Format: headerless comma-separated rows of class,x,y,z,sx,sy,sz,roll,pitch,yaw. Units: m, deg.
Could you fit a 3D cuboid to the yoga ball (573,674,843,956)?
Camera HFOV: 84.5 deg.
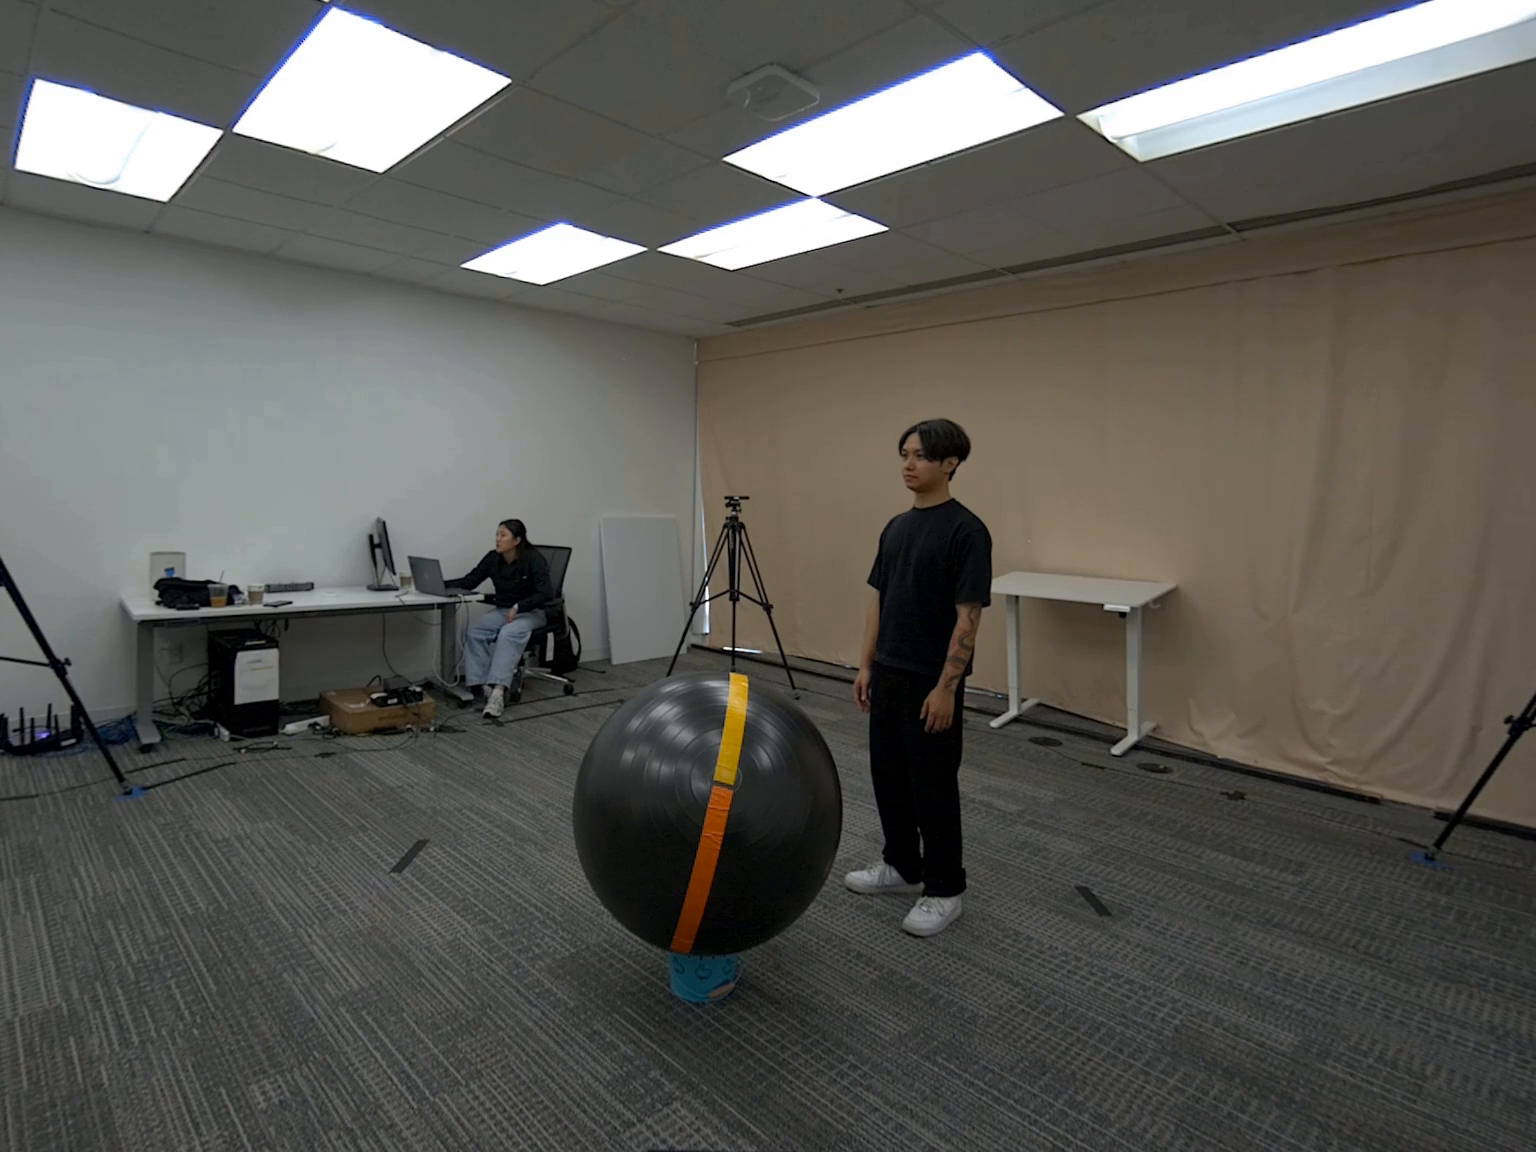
yoga ball,-0.171,0.660,2.378,0.757,0.756,0.761,1,4,-1
